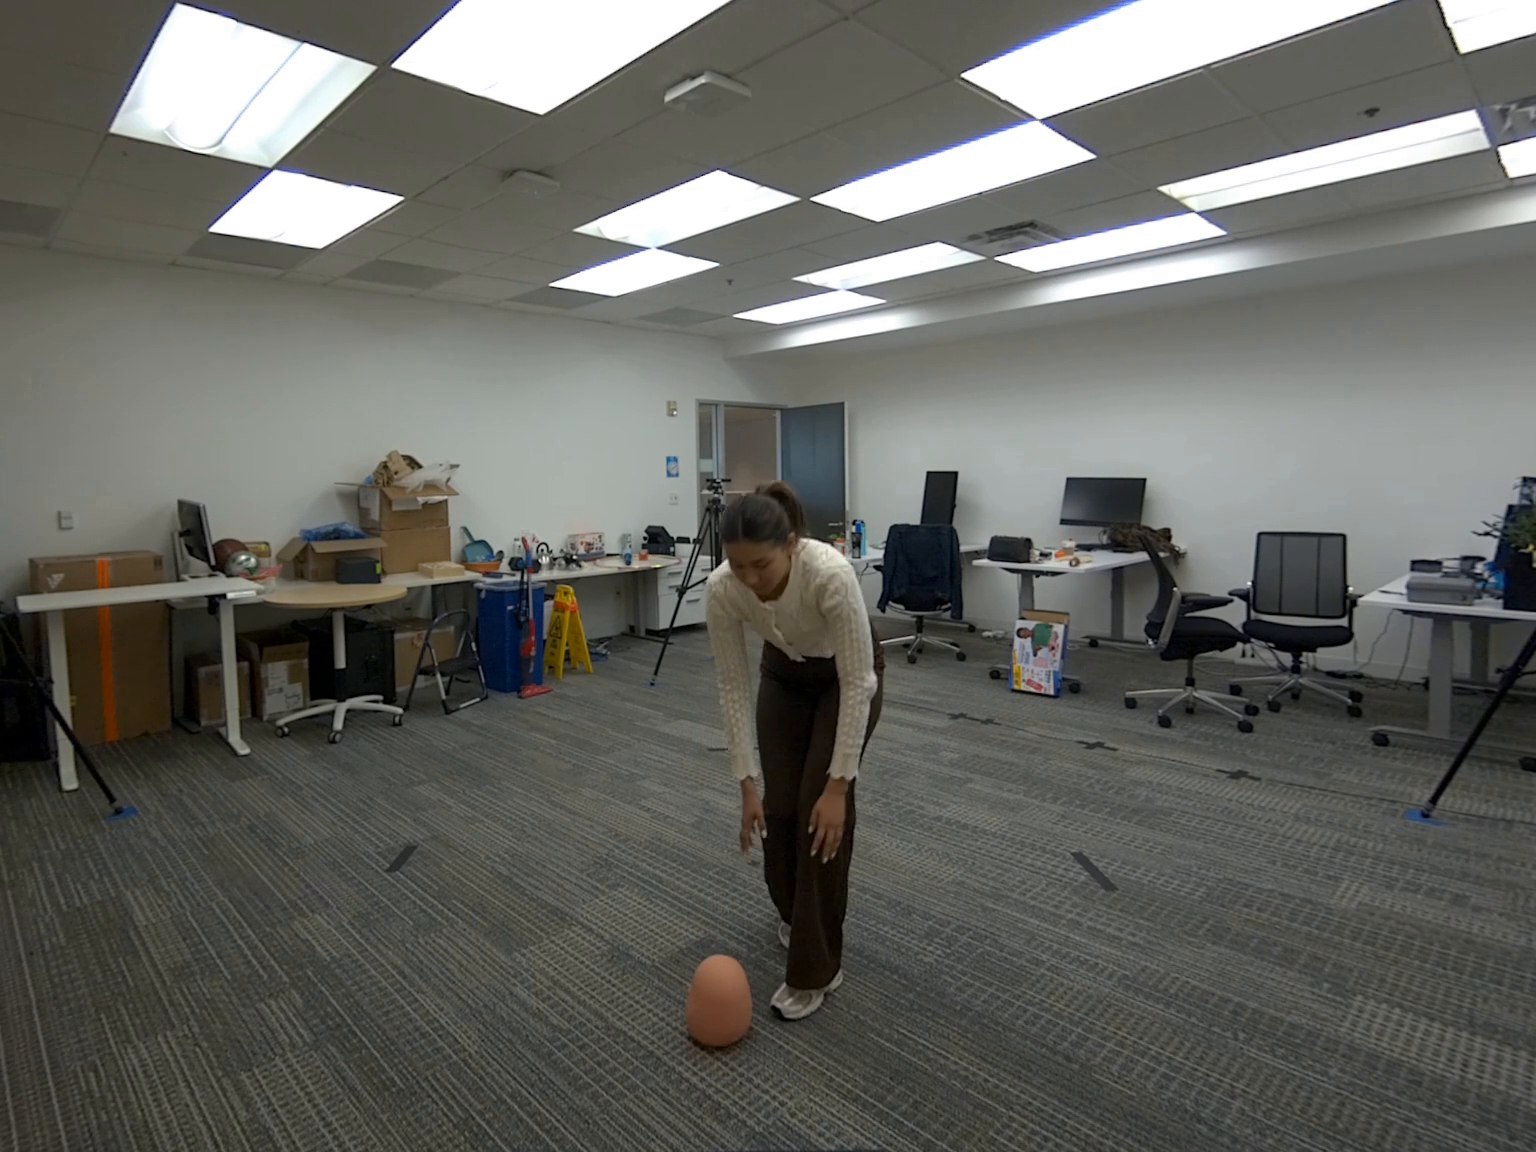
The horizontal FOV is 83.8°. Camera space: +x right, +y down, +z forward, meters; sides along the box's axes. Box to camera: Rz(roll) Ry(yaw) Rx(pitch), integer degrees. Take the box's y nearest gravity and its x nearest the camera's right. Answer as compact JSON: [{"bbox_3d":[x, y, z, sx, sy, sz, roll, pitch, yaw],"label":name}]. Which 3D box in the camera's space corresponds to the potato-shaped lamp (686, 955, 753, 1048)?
[{"bbox_3d":[-0.113,1.057,2.146,0.161,0.197,0.176,-2,6,-29],"label":"potato-shaped lamp"}]
